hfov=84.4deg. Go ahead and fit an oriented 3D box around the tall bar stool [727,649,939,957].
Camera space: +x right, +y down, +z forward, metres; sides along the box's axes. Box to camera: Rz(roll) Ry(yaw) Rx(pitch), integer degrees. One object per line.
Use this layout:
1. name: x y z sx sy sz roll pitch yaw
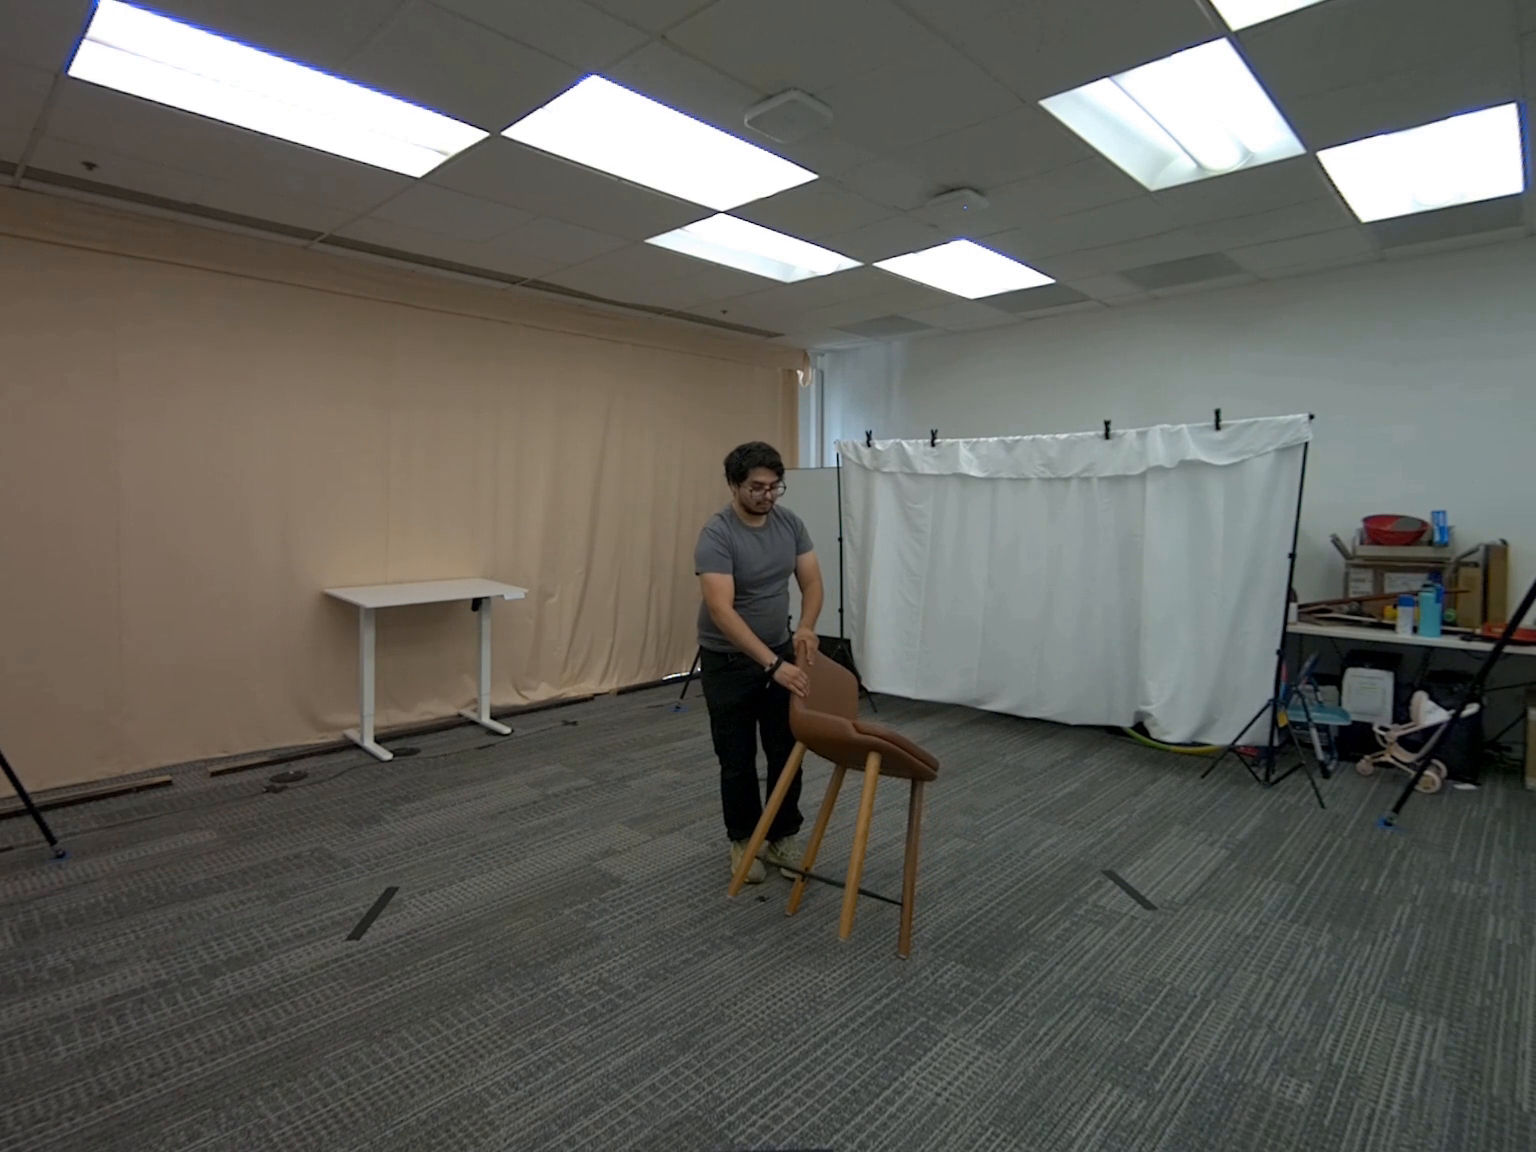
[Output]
1. tall bar stool: 0.270 0.692 2.751 0.482 0.895 0.440 -2 -27 39
